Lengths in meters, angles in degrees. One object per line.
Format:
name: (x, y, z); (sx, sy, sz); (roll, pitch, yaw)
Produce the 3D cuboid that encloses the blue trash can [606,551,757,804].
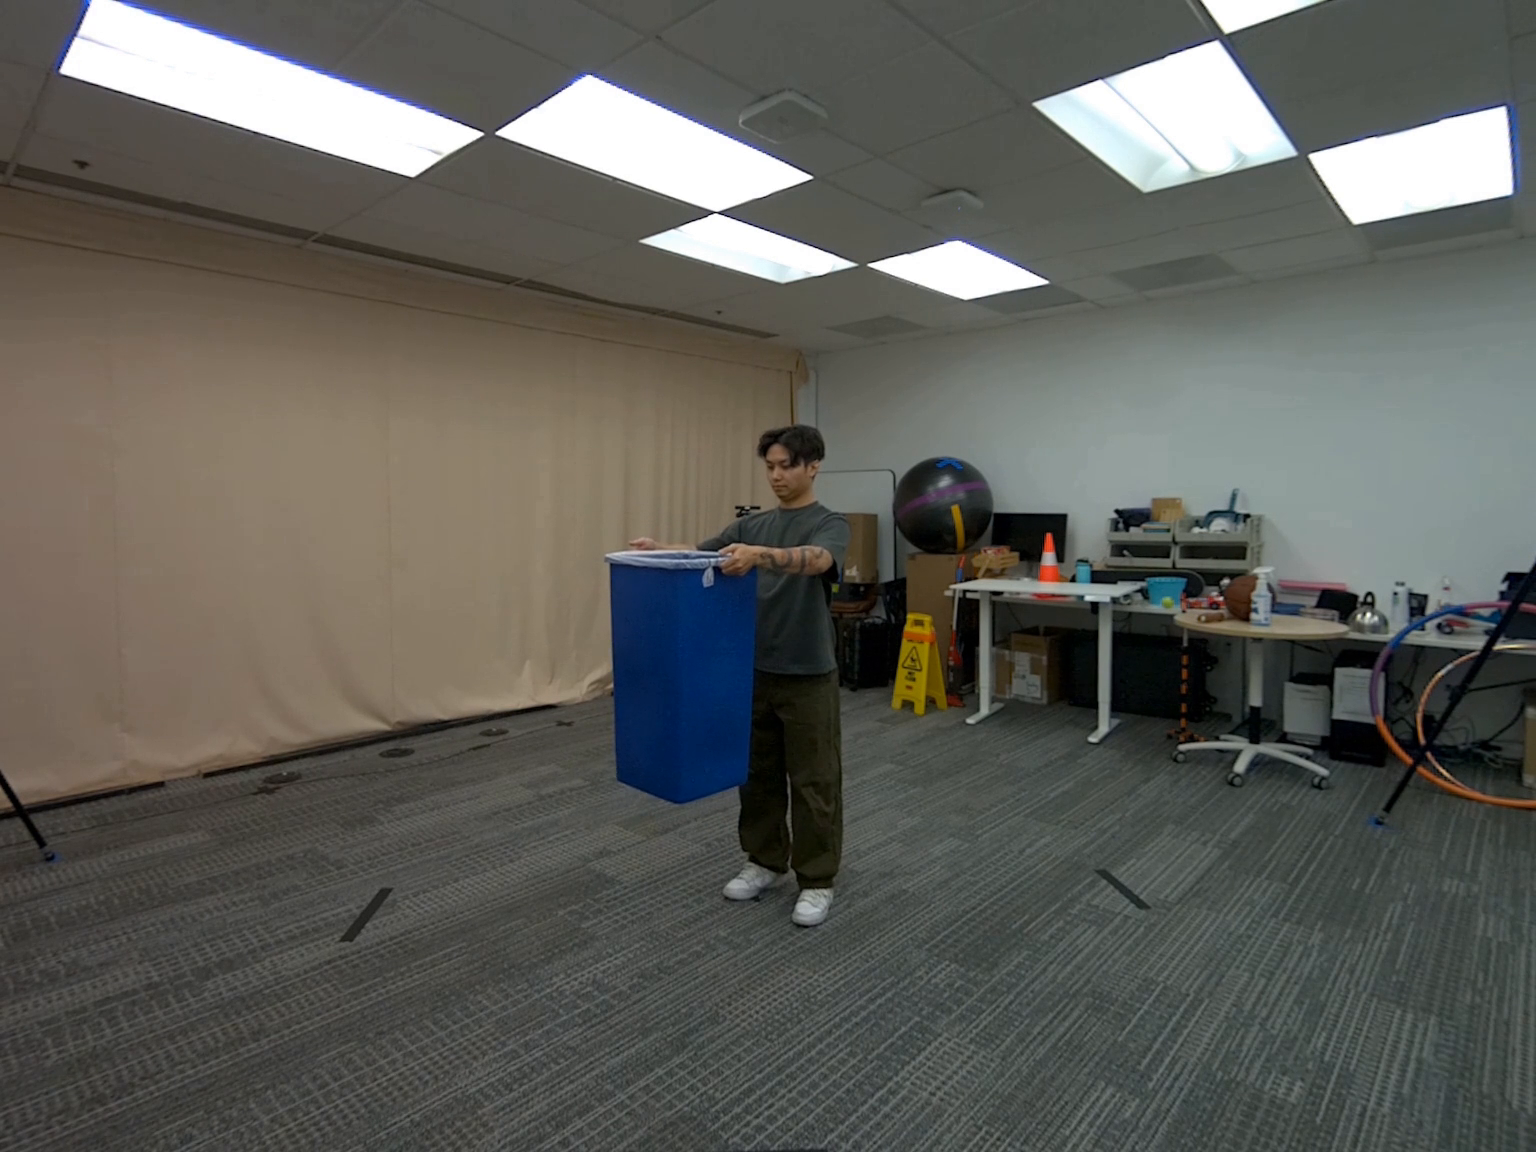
blue trash can: (-0.262, 0.295, 2.617); (0.391, 0.712, 0.362); (4, 4, 42)
